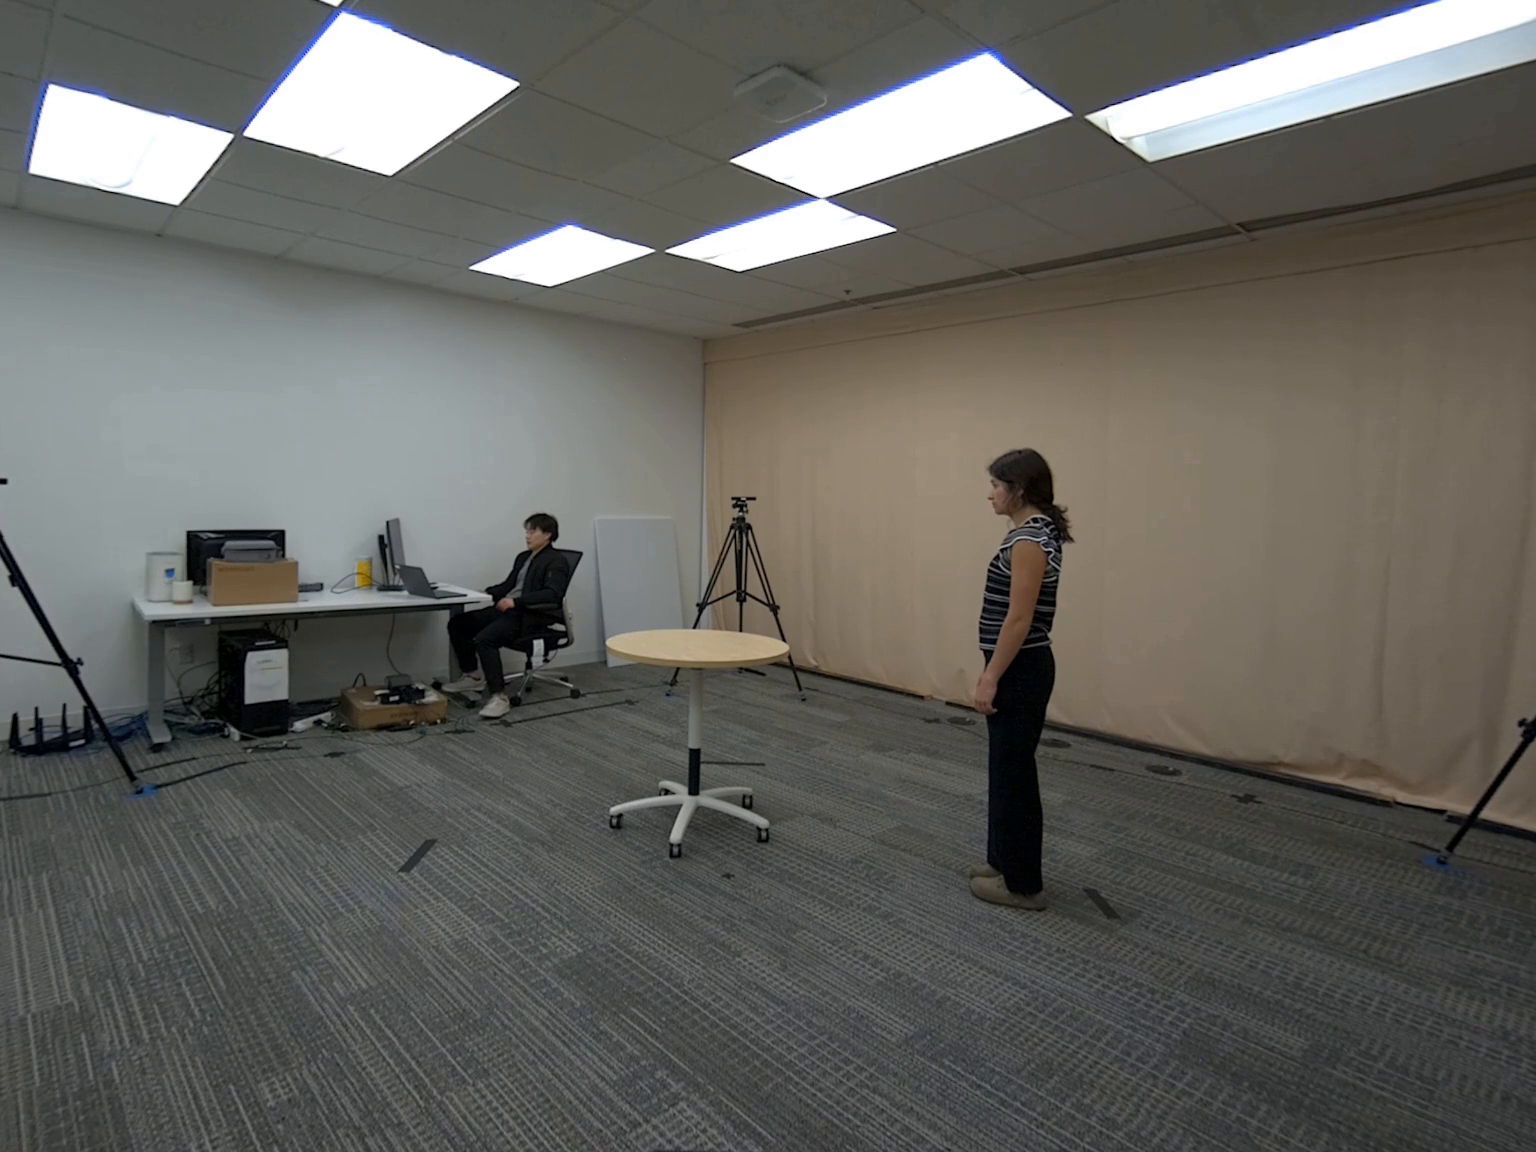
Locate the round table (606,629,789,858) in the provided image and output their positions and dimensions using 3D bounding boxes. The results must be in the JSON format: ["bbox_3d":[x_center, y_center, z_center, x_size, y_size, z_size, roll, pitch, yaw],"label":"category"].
[{"bbox_3d":[-0.319,0.677,3.550,0.763,0.792,0.766,2,4,-1],"label":"round table"}]
